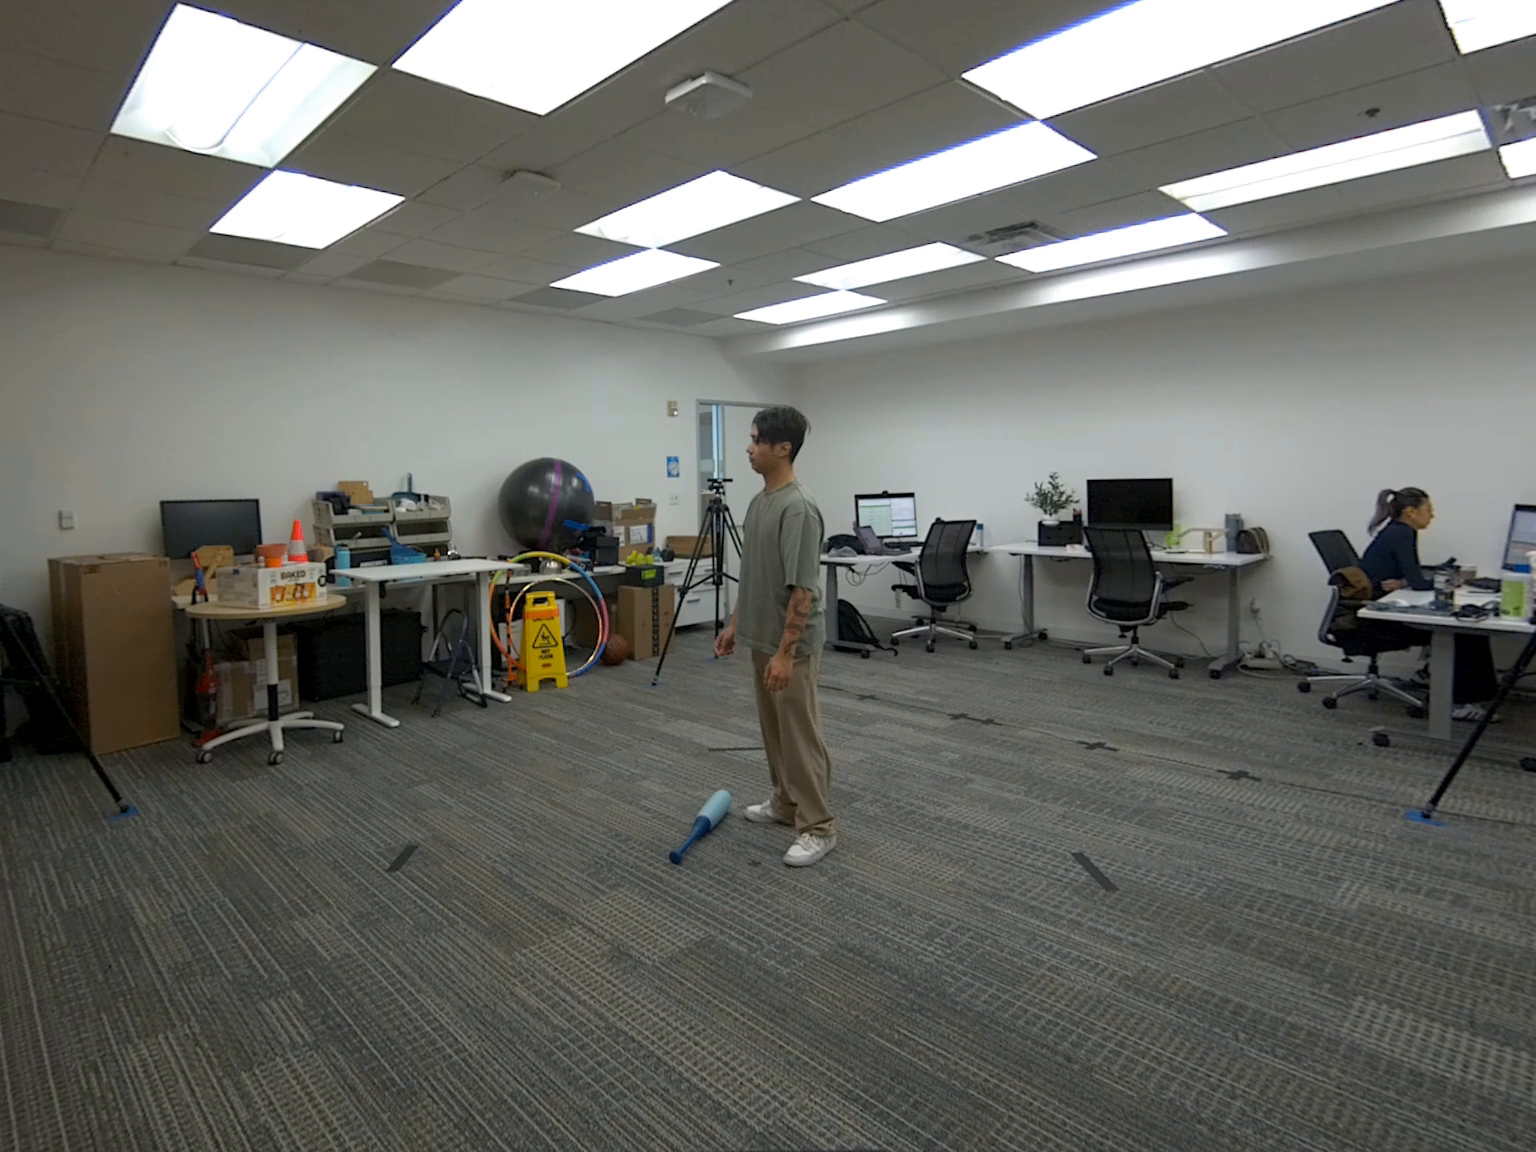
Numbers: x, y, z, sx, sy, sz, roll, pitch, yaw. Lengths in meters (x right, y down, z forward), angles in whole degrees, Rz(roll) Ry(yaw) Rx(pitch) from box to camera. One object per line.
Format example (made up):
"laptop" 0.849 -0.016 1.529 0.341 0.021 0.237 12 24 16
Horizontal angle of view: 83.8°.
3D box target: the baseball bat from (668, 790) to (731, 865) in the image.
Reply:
"baseball bat" -0.257 0.978 3.358 0.090 0.088 0.537 0 9 16
